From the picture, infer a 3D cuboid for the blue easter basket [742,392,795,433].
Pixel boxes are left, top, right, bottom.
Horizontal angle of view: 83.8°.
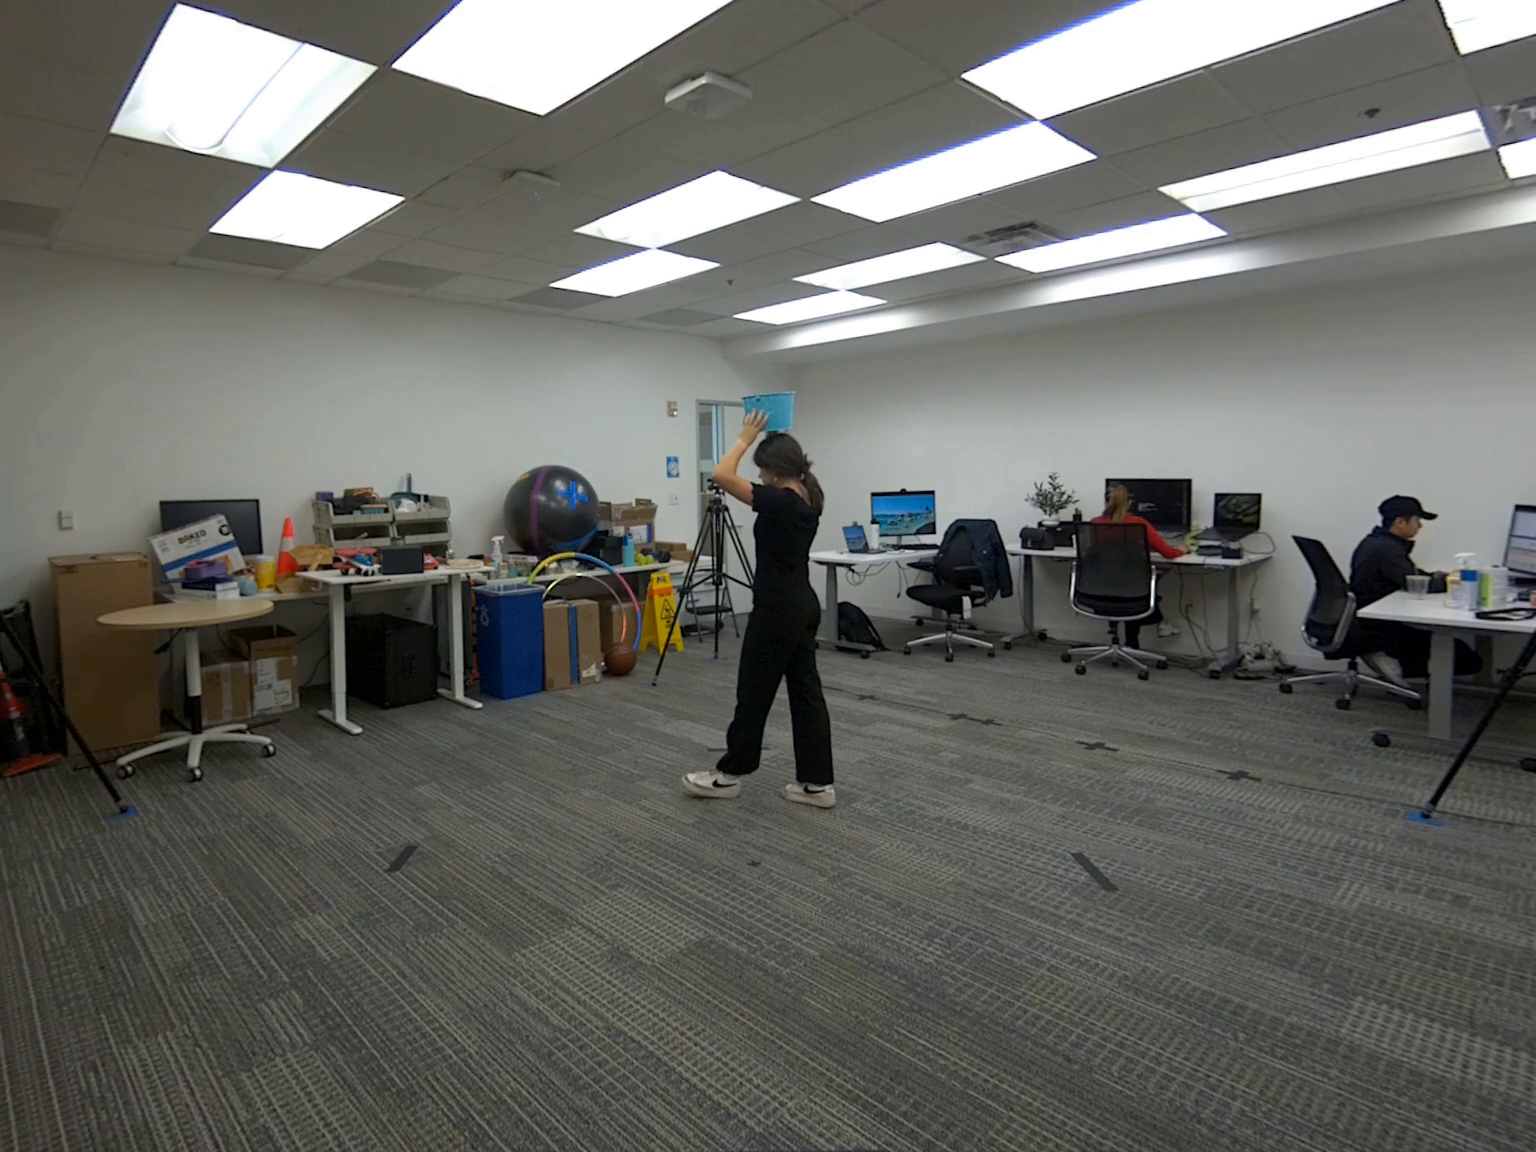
[{"bbox_3d":[-0.005,-0.695,3.647,0.243,0.155,0.245,-6,8,-1],"label":"blue easter basket"}]
